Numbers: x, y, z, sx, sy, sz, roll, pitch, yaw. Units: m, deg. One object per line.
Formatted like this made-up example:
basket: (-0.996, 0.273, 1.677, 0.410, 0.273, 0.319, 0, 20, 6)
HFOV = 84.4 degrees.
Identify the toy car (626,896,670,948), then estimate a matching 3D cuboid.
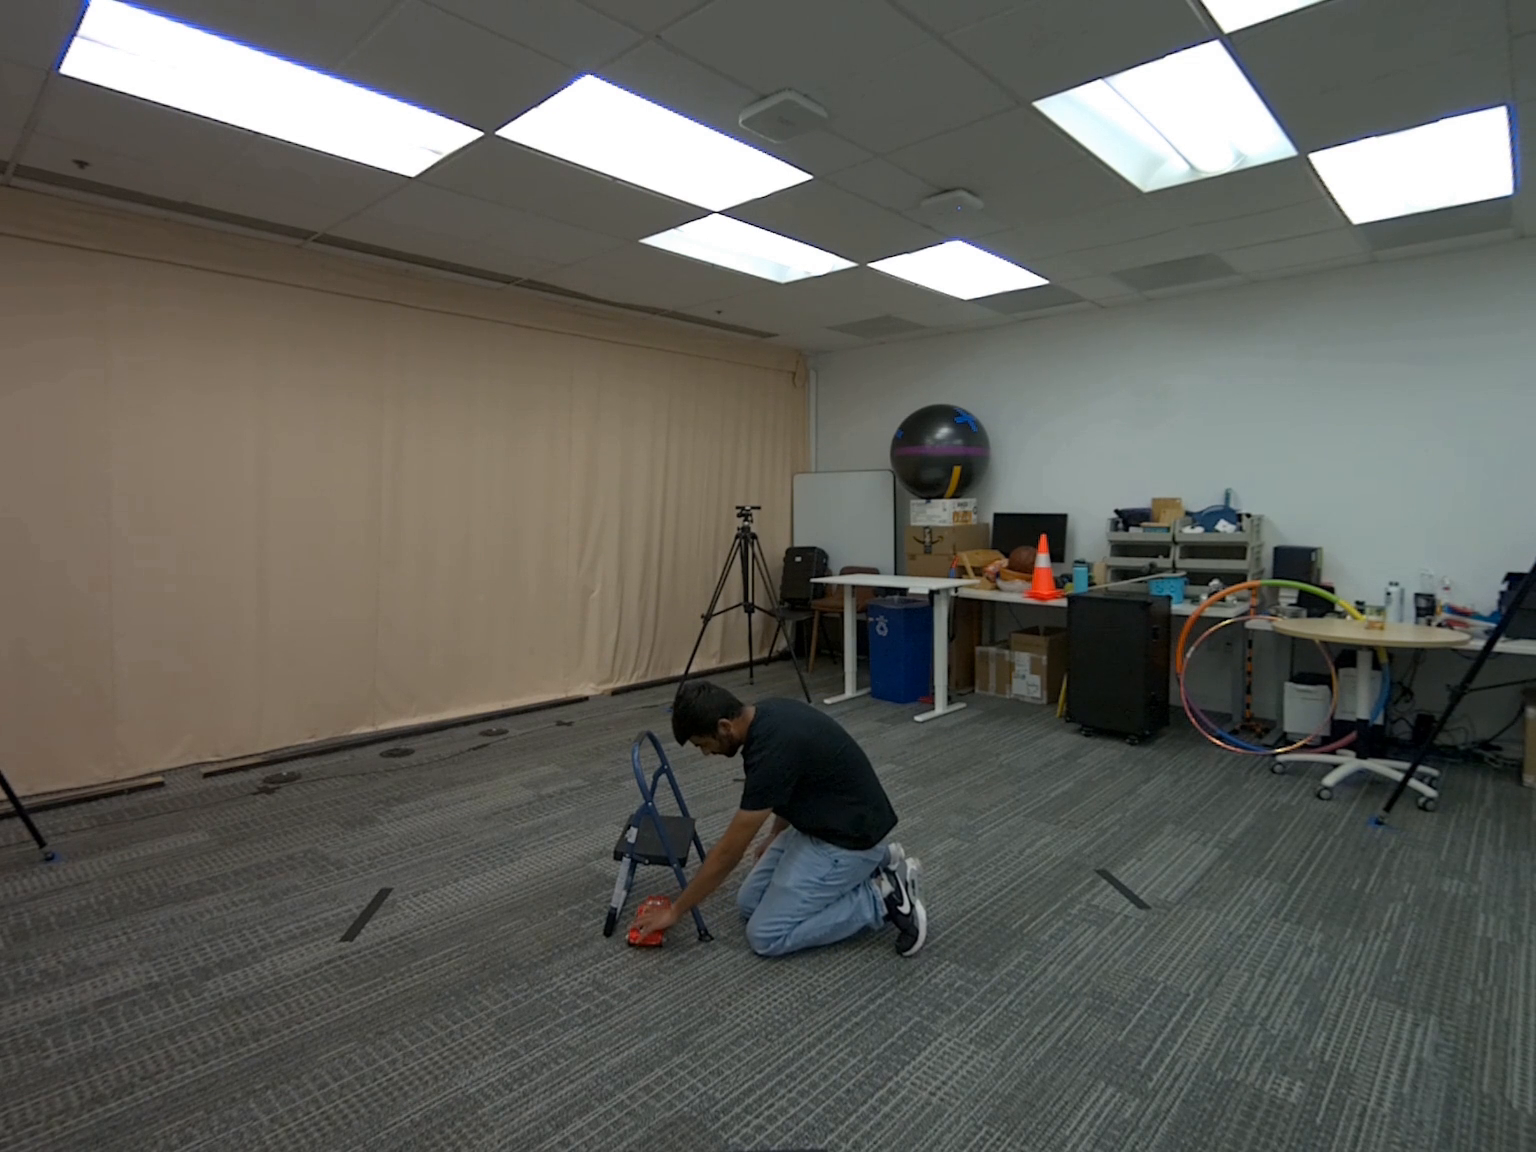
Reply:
toy car: (-0.377, 1.140, 2.749, 0.131, 0.082, 0.256, -1, 16, 2)
